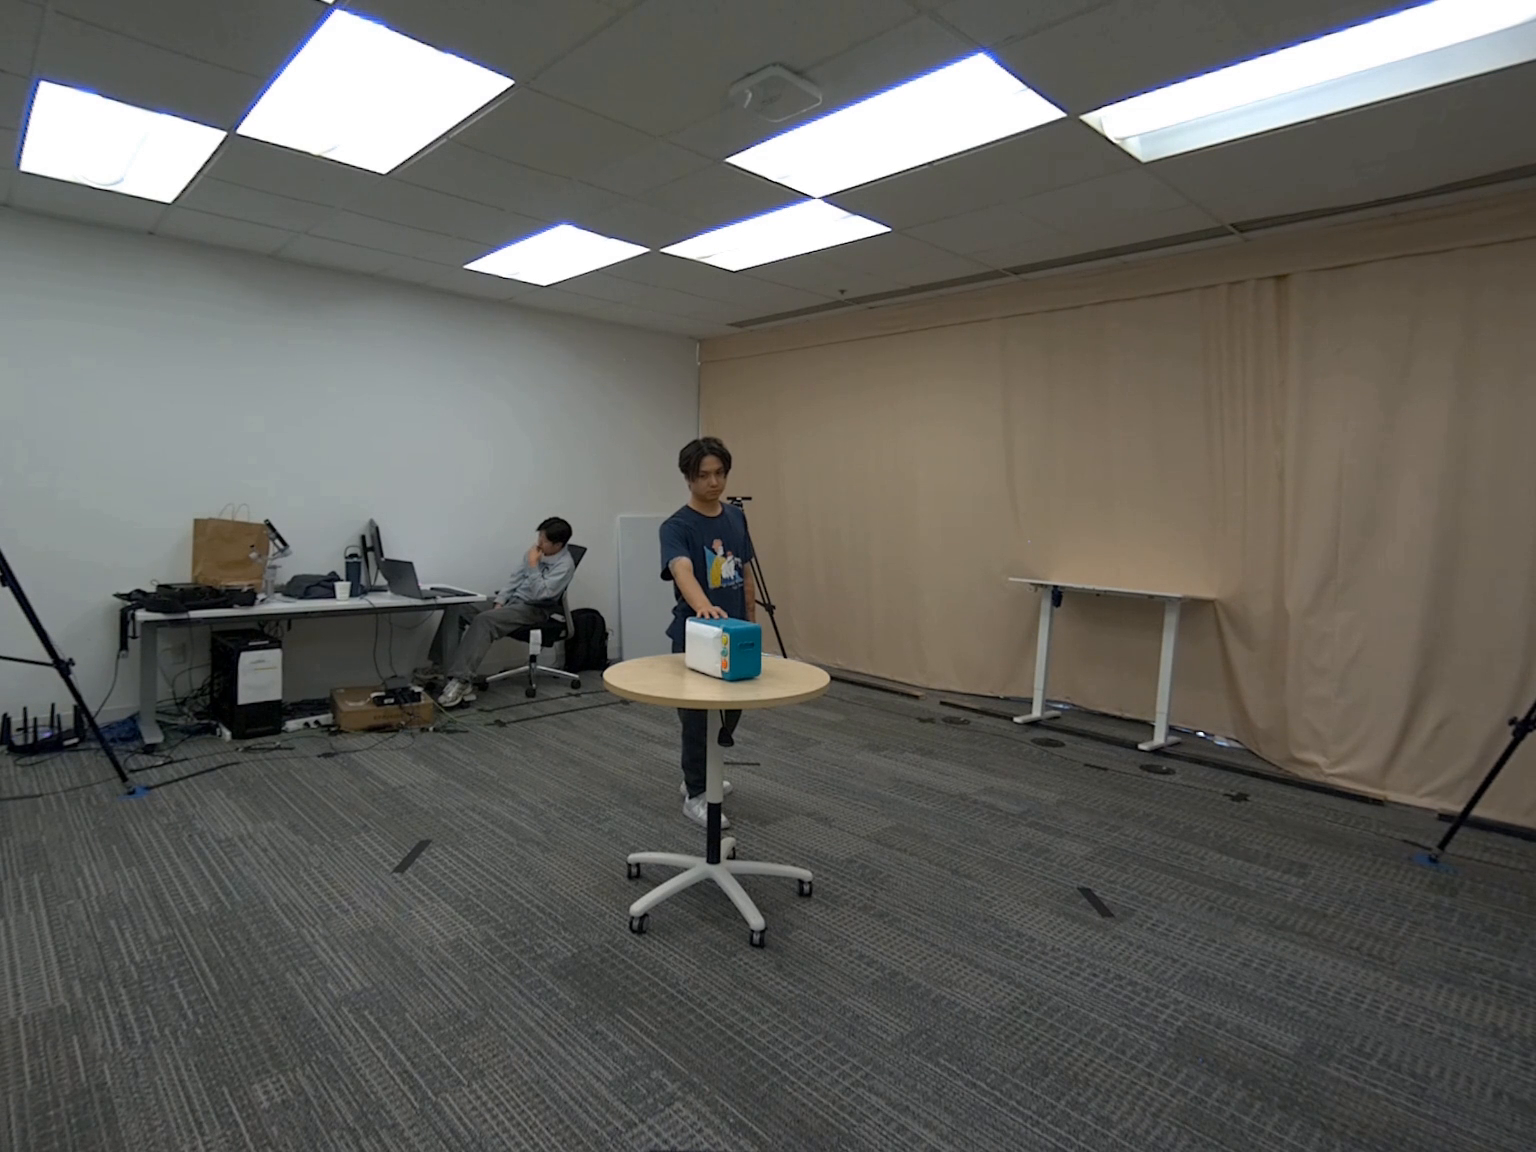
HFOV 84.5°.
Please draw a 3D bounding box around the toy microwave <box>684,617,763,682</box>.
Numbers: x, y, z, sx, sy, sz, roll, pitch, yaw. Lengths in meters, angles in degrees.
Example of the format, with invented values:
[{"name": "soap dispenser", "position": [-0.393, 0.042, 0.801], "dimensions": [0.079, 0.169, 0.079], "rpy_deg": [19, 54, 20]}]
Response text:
[{"name": "toy microwave", "position": [-0.168, 0.243, 2.842], "dimensions": [0.149, 0.184, 0.293], "rpy_deg": [-2, 5, -36]}]
